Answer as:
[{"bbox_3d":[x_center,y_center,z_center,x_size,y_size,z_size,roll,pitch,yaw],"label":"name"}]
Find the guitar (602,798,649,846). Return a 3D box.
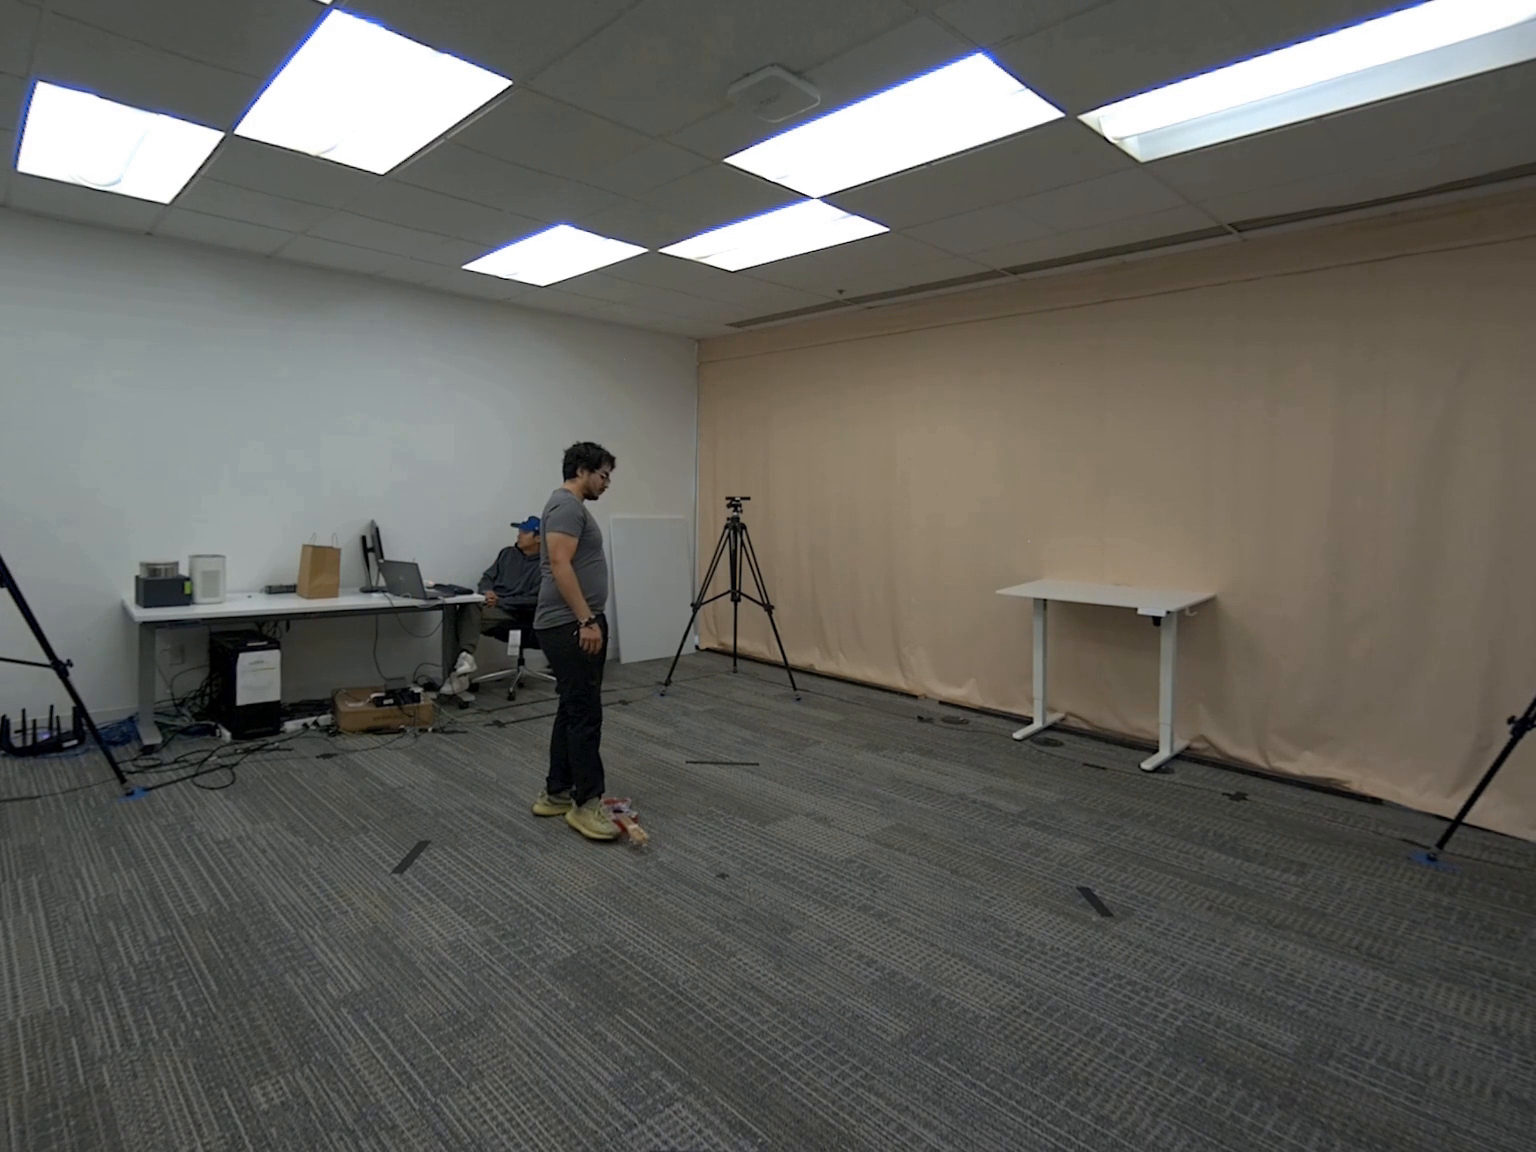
[{"bbox_3d":[-0.635,1.029,3.489,0.190,0.070,0.506,0,5,-18],"label":"guitar"}]
